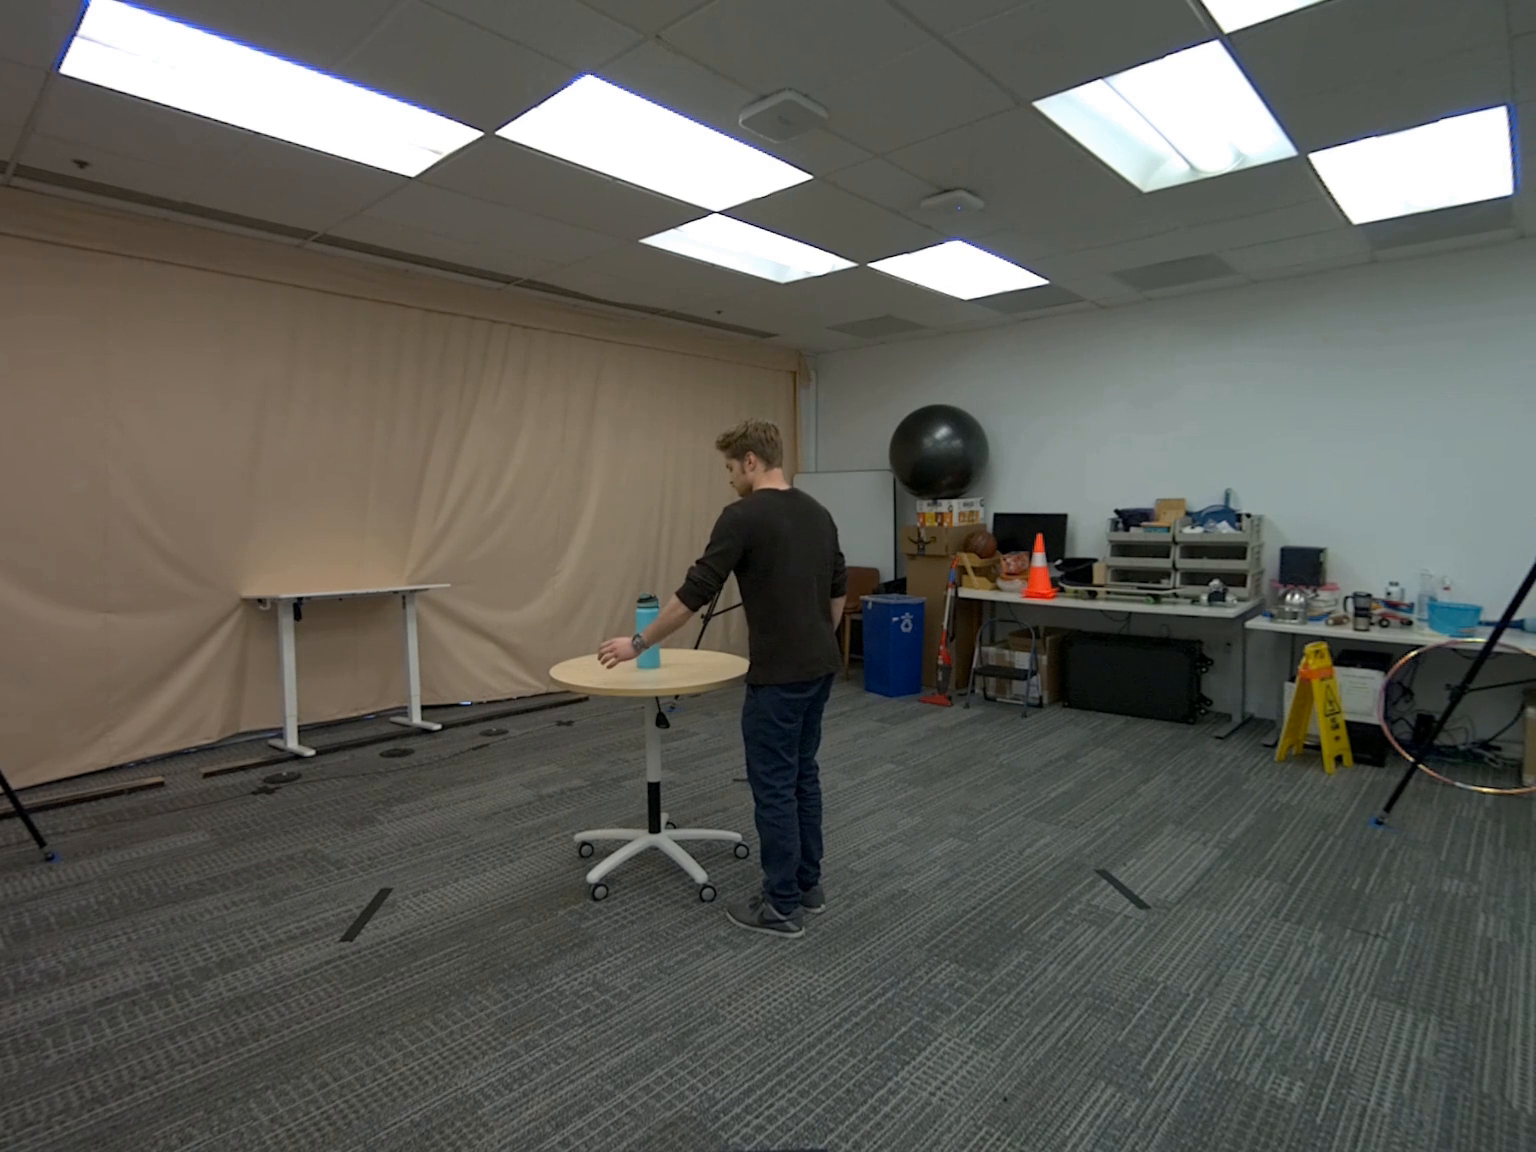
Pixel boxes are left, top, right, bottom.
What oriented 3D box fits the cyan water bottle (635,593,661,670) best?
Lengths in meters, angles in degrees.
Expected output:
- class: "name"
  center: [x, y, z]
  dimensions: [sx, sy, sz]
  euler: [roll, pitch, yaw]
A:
- class: "cyan water bottle"
  center: [-0.462, 0.208, 3.206]
  dimensions: [0.092, 0.283, 0.092]
  euler: [0, 2, -2]
